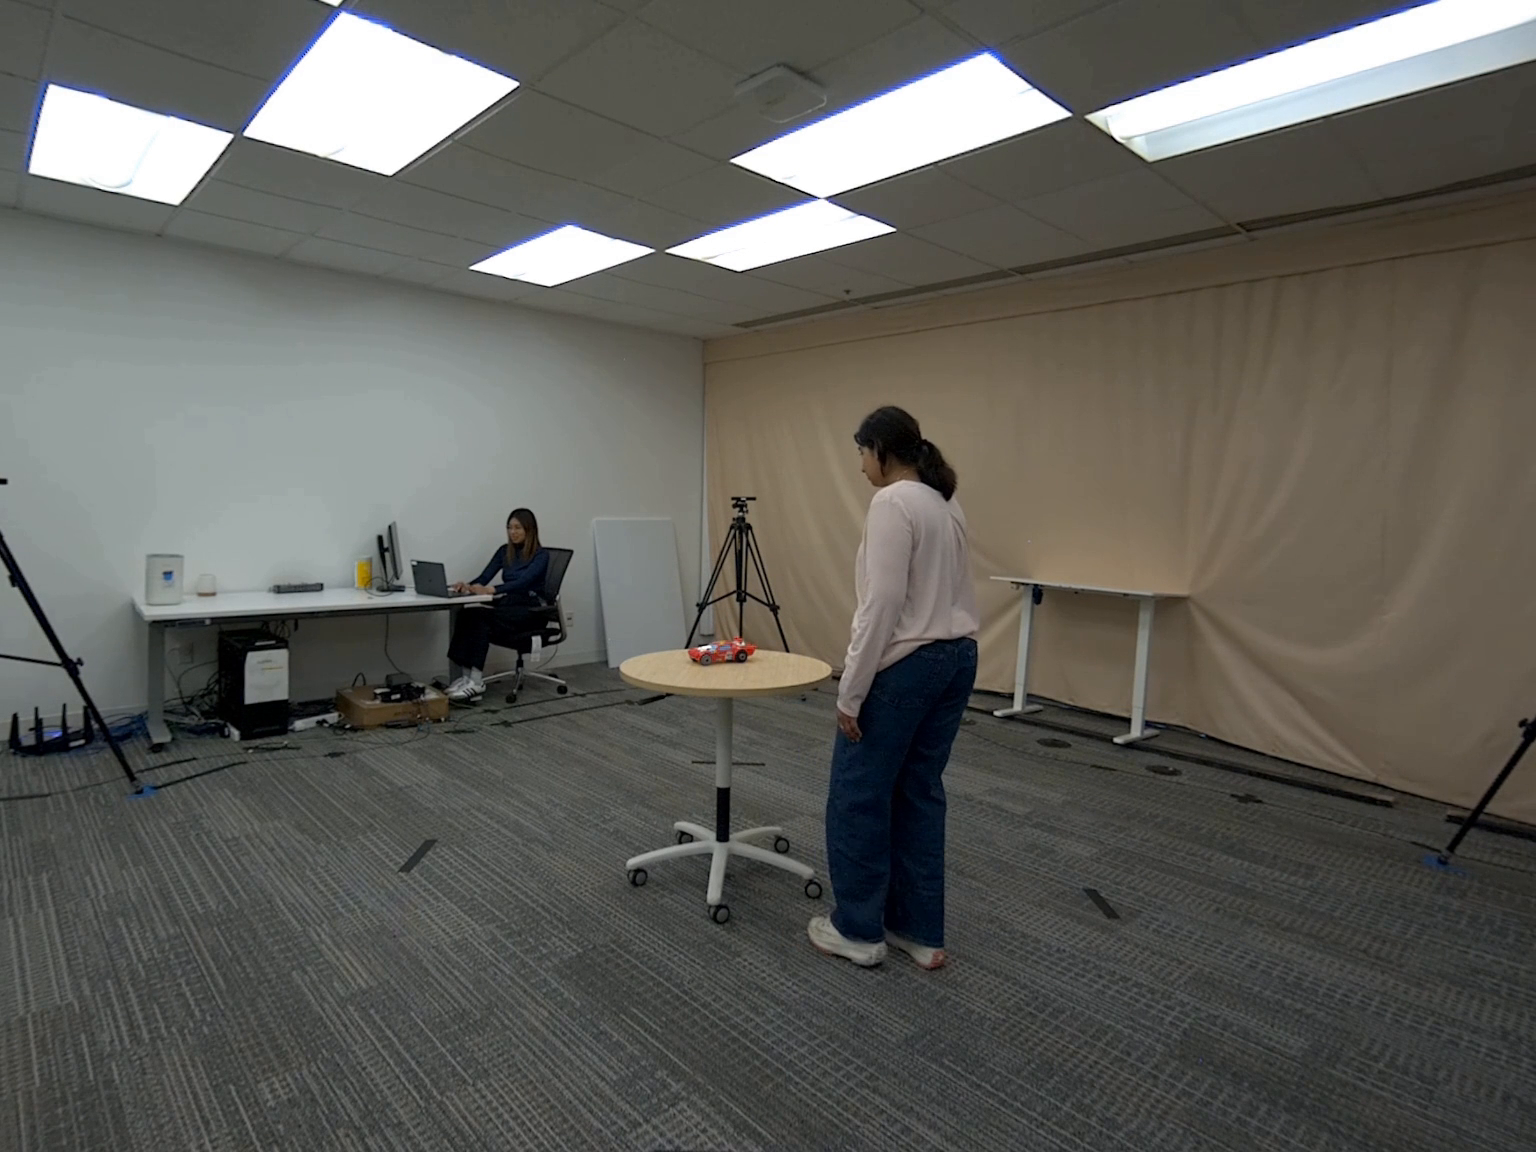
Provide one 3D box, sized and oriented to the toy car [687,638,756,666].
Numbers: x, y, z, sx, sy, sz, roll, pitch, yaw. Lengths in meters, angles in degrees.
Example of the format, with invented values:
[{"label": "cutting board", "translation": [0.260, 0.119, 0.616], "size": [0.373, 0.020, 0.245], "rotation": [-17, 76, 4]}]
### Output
[{"label": "toy car", "translation": [-0.174, 0.288, 3.141], "size": [0.251, 0.082, 0.133], "rotation": [-14, 10, -24]}]
